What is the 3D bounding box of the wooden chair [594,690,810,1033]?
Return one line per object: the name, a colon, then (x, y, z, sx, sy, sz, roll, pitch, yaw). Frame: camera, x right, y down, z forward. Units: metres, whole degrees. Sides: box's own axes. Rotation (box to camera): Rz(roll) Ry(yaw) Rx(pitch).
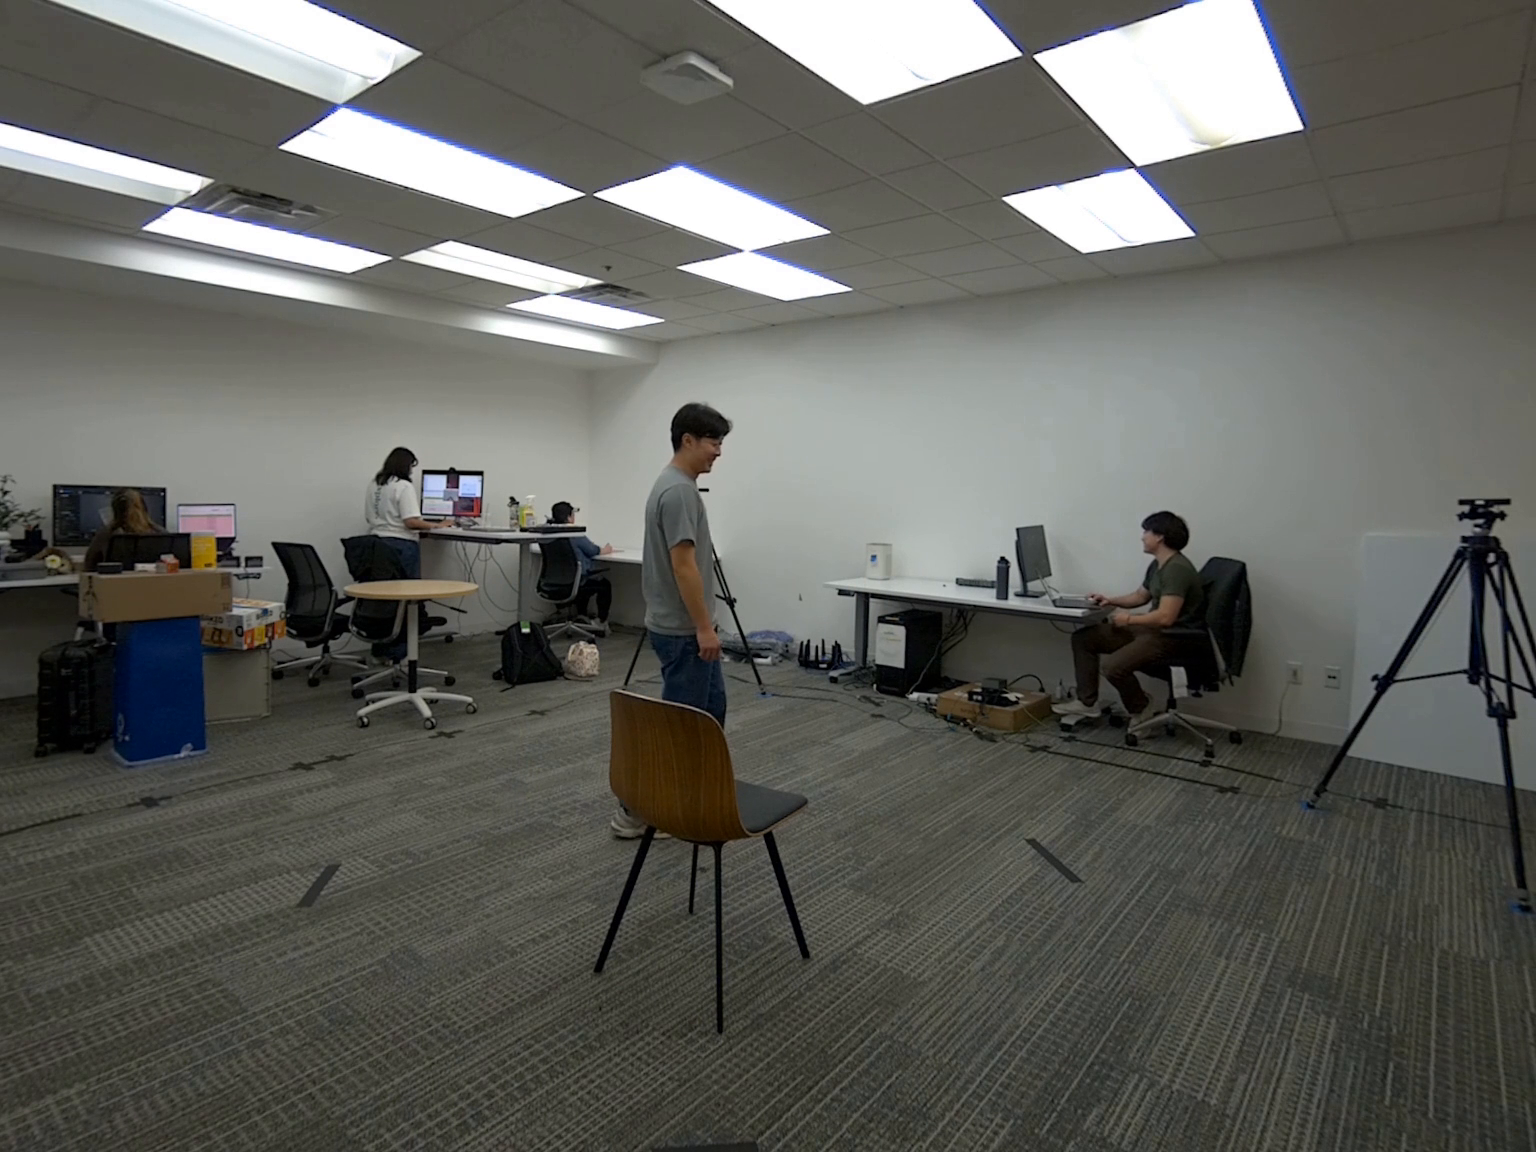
wooden chair: (-0.183, 0.705, 2.461, 0.493, 0.871, 0.510, 3, 8, 34)
